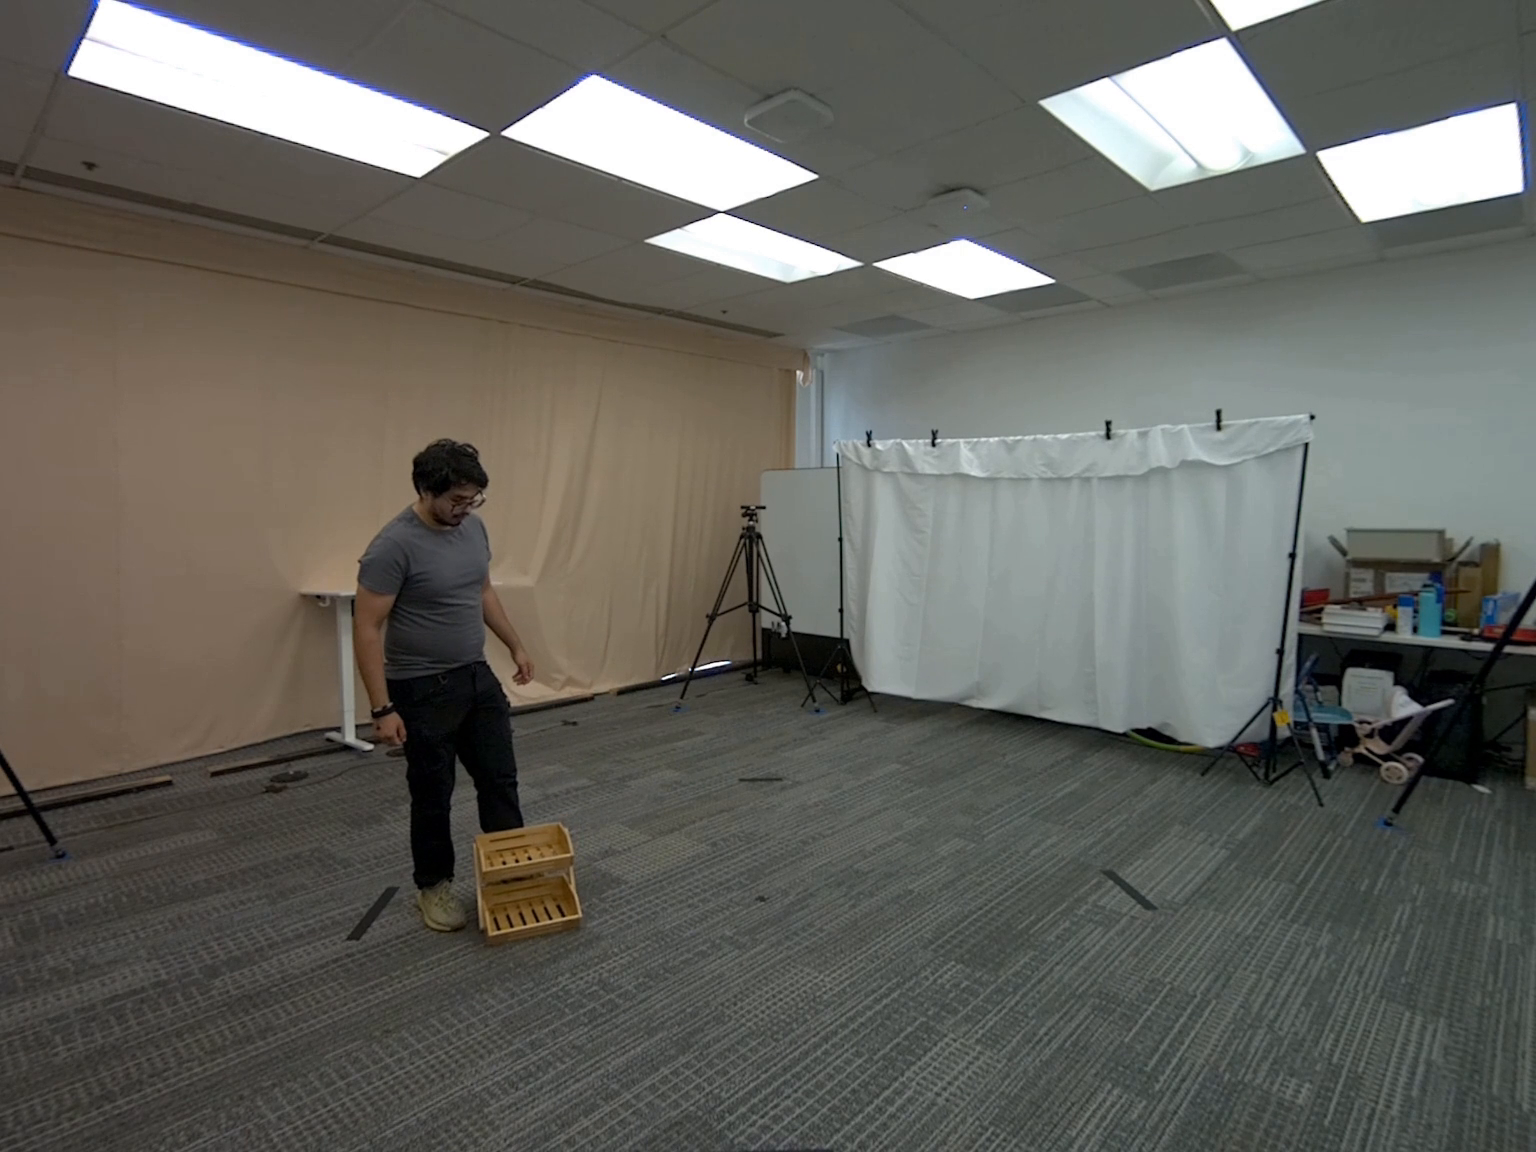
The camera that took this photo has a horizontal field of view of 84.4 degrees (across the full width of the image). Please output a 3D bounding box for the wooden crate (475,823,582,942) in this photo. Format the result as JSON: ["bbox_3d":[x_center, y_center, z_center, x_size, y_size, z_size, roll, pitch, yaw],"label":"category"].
[{"bbox_3d":[-0.813,1.034,2.827,0.317,0.273,0.310,-2,4,-25],"label":"wooden crate"}]
